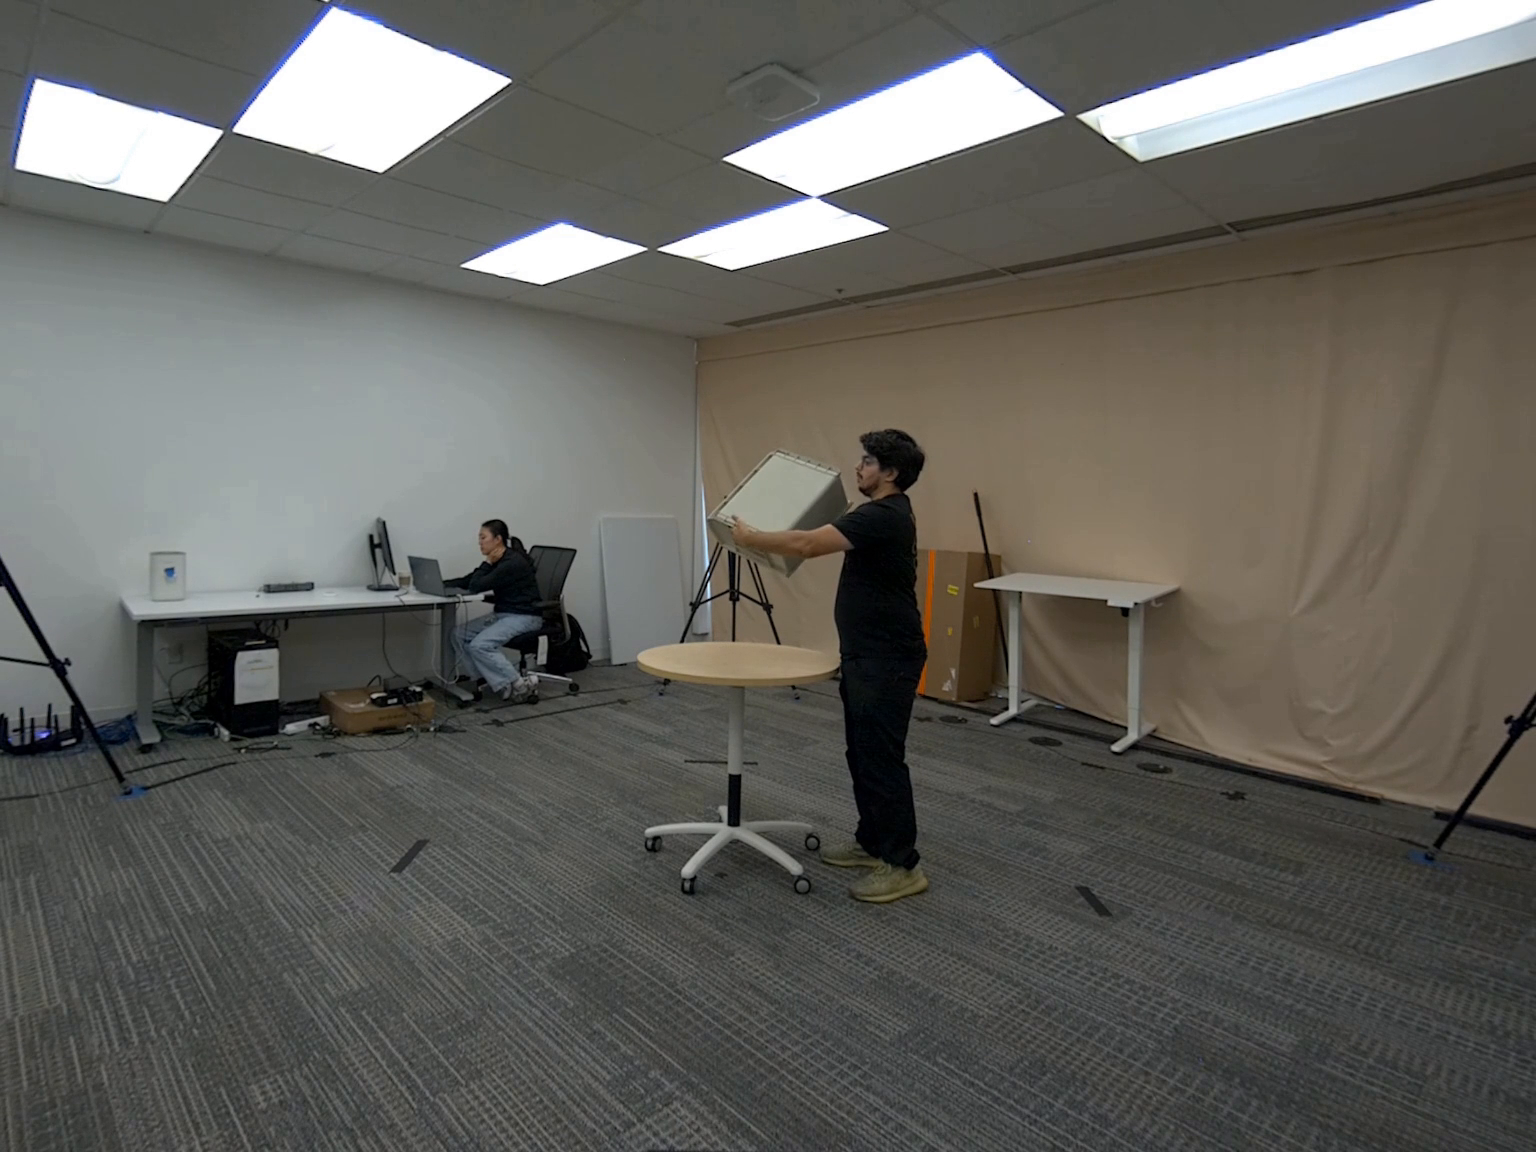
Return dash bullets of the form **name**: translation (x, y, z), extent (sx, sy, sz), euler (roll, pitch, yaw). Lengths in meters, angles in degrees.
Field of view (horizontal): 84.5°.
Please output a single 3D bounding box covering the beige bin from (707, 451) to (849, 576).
- **beige bin**: translation (0.036, -0.258, 3.226), extent (0.388, 0.183, 0.422), euler (24, 60, 37)
